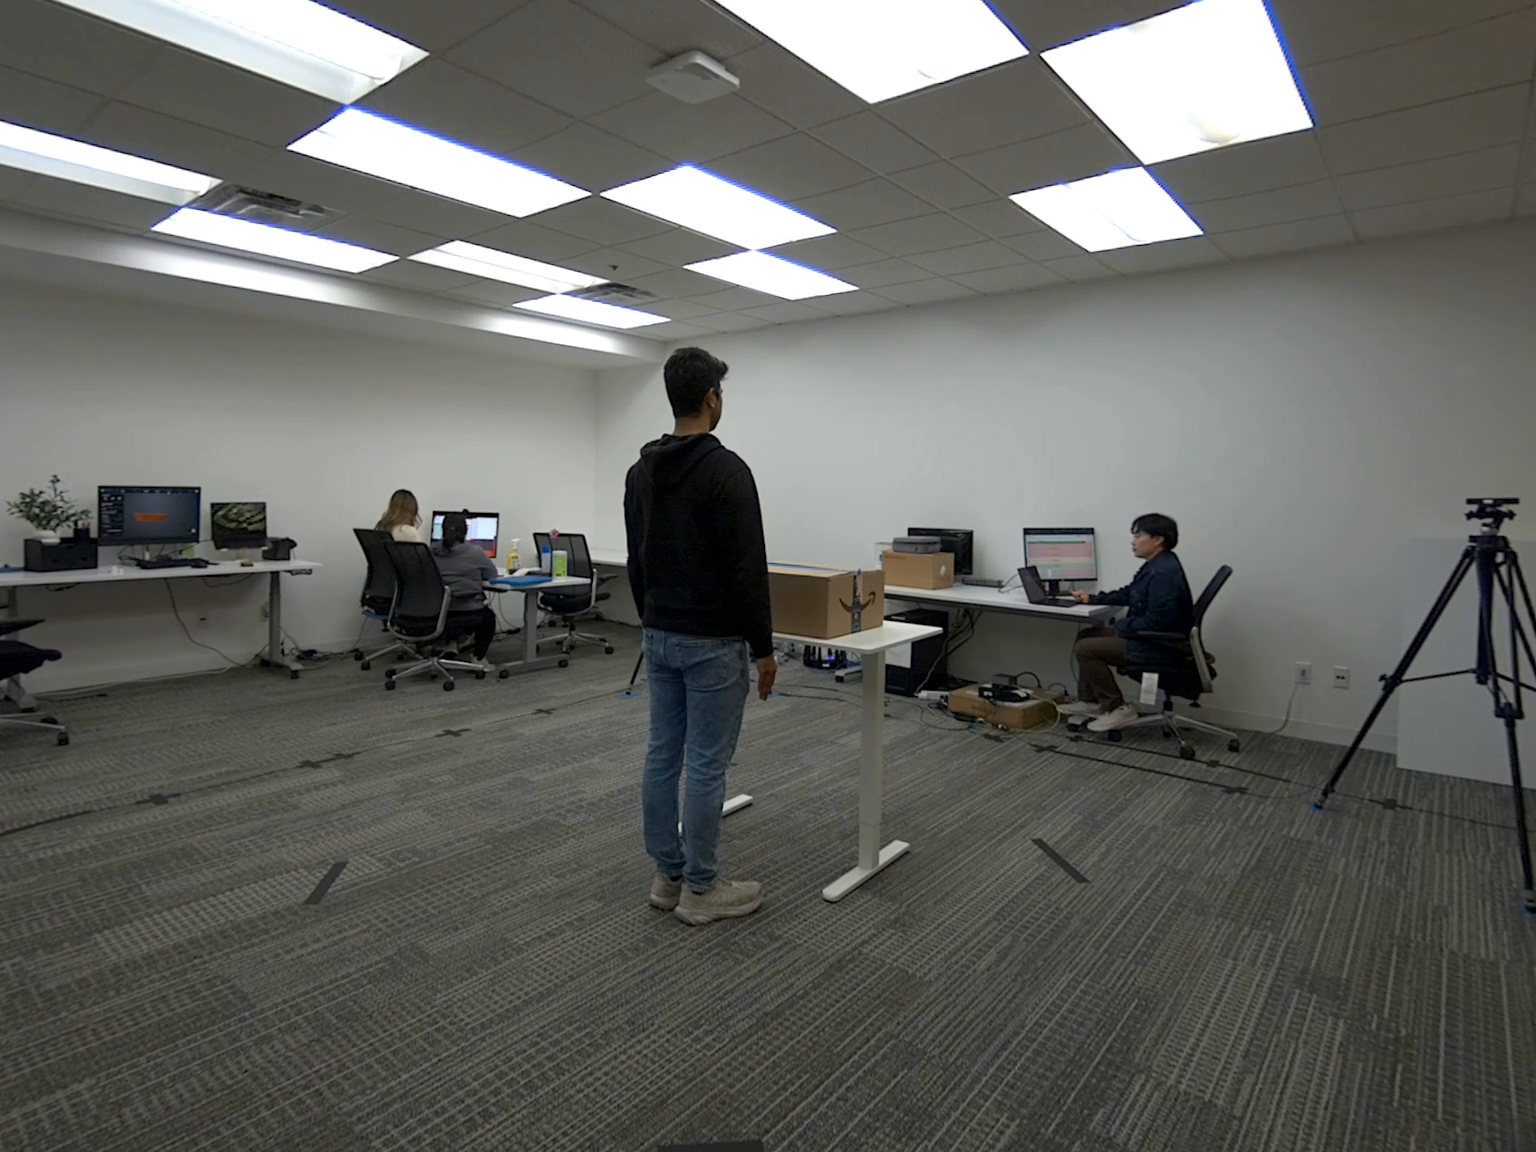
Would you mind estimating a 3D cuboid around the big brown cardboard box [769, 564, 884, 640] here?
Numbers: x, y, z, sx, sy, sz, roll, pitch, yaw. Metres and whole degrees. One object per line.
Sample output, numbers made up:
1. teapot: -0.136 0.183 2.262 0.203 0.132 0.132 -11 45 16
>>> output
1. big brown cardboard box: 0.072 0.068 3.223 0.609 0.232 0.406 7 7 36
